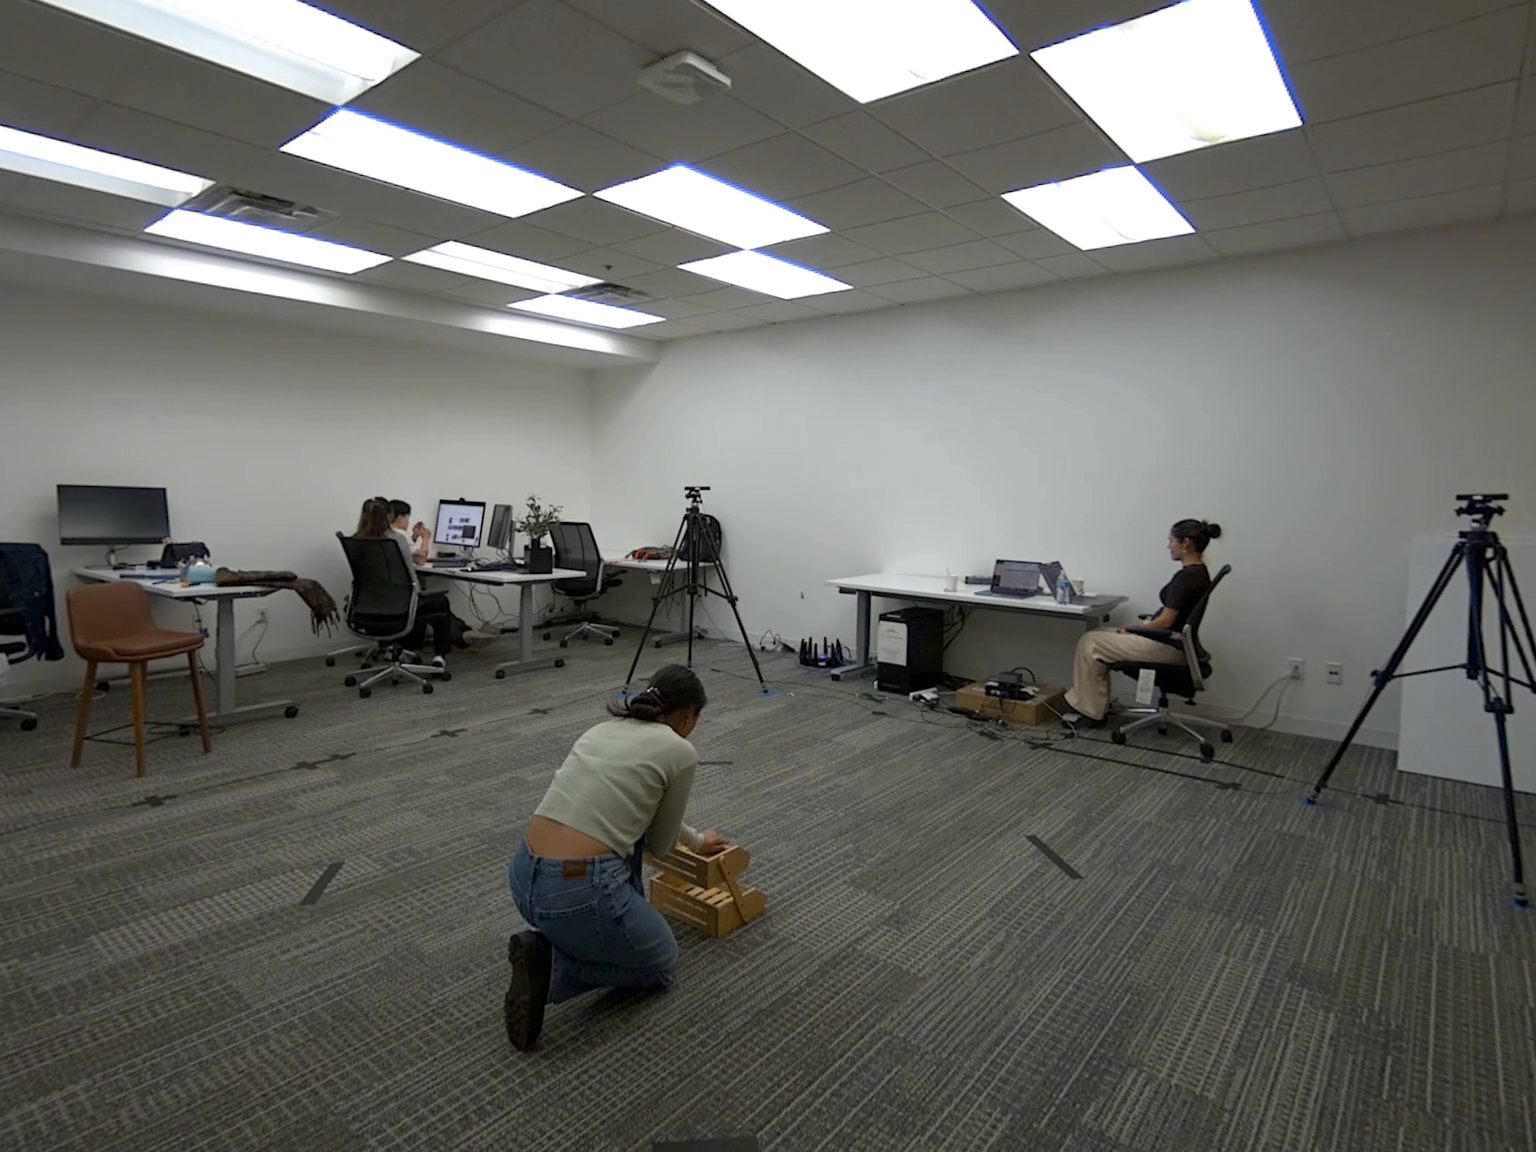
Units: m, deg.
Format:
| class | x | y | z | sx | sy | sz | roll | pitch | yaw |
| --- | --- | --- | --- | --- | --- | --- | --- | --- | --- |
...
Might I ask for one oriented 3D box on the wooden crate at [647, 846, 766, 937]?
| class | x | y | z | sx | sy | sz | roll | pitch | yaw |
| --- | --- | --- | --- | --- | --- | --- | --- | --- | --- |
| wooden crate | -0.215 | 0.960 | 2.786 | 0.335 | 0.272 | 0.293 | 4 | 6 | 39 |
